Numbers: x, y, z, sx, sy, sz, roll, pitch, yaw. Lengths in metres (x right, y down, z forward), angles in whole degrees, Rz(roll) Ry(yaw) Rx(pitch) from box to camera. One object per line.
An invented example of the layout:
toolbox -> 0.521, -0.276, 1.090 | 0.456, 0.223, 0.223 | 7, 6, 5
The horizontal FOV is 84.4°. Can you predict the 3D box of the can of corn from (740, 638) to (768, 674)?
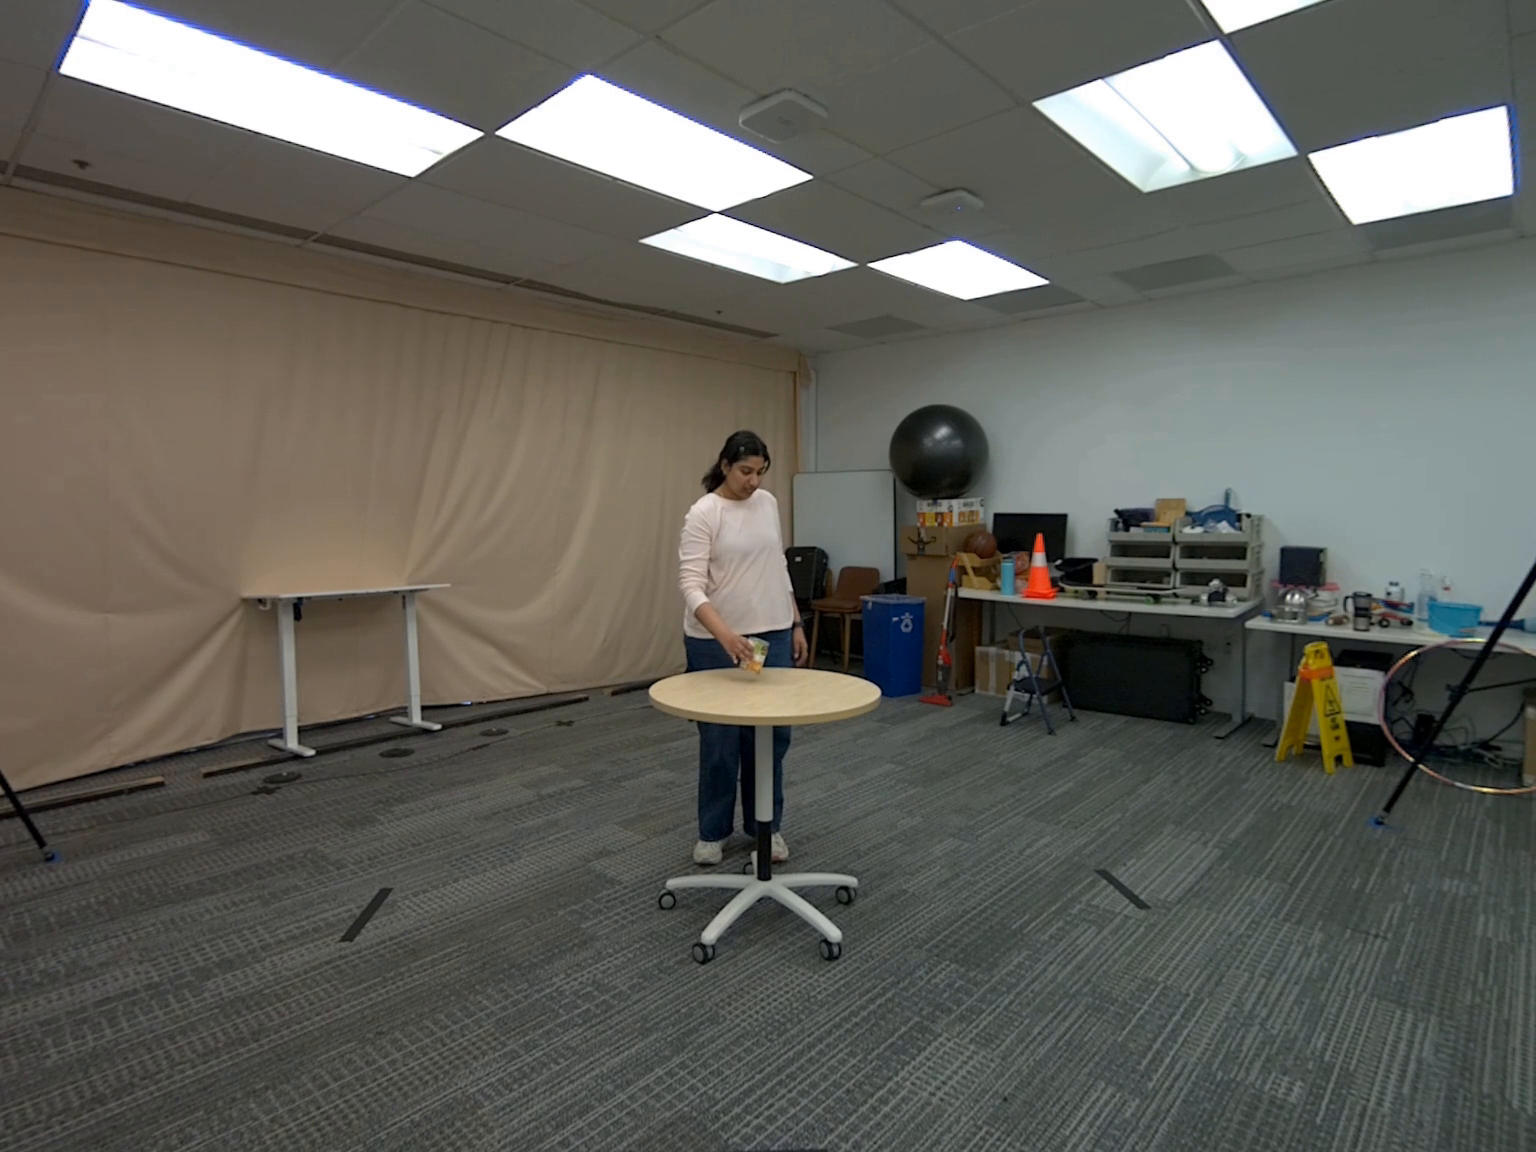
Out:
can of corn -> -0.049, 0.281, 2.925 | 0.074, 0.111, 0.074 | 13, -3, -1
